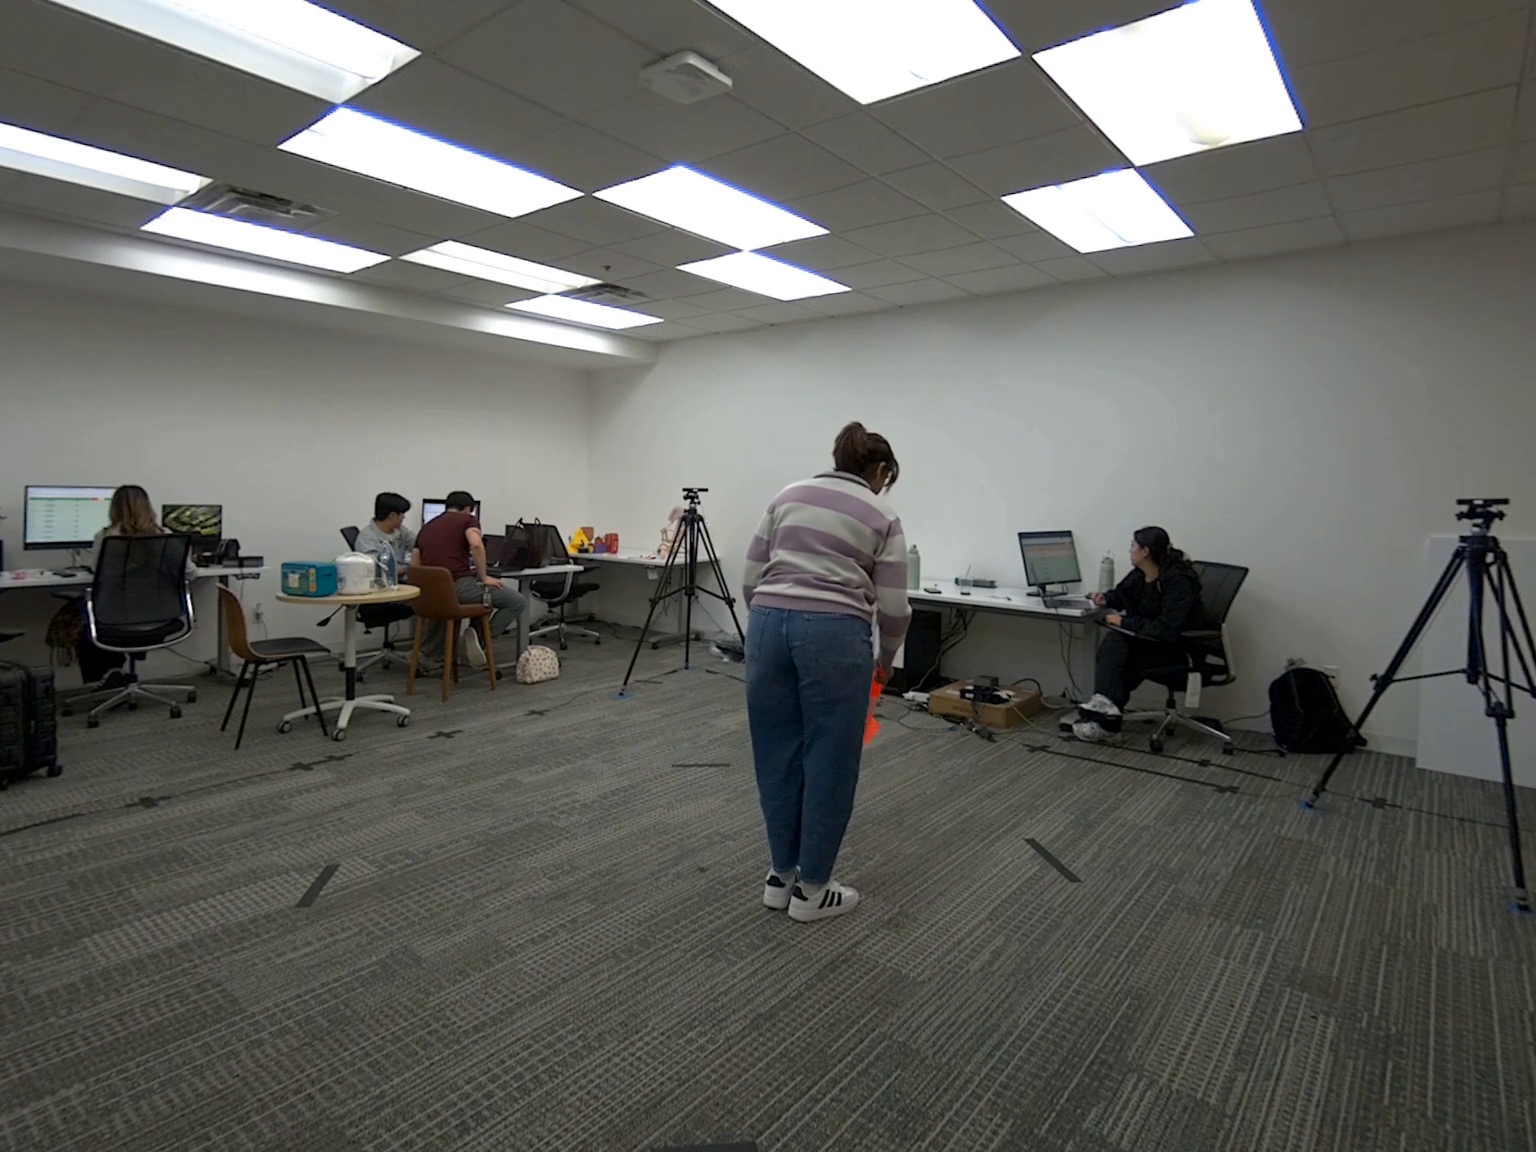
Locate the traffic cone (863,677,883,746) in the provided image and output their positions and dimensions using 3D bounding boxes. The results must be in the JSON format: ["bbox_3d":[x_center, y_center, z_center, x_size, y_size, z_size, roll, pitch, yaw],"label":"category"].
[{"bbox_3d":[0.338,0.441,3.107,0.202,0.377,0.209,-30,65,-35],"label":"traffic cone"}]
